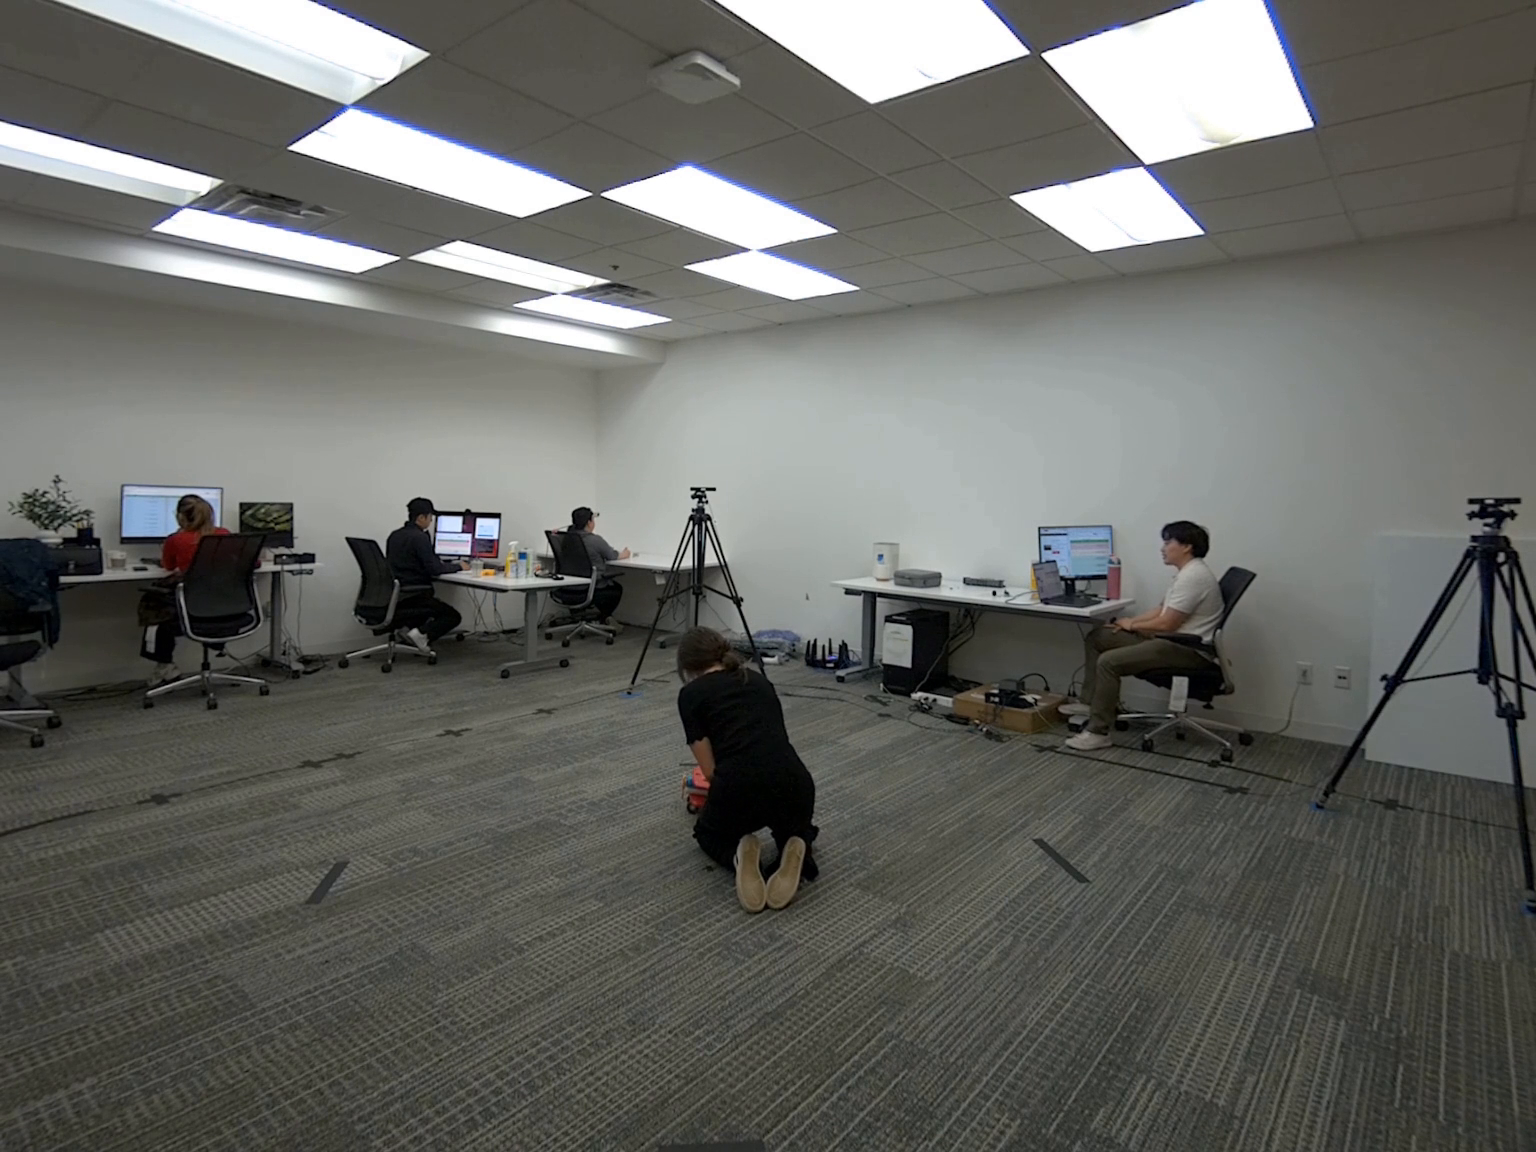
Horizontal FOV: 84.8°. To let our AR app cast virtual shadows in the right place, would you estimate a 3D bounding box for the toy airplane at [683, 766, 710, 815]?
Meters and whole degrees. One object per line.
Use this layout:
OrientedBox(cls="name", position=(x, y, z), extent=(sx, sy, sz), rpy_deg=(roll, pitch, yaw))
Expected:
OrientedBox(cls="toy airplane", position=(-0.260, 0.921, 3.693), extent=(0.253, 0.156, 0.258), rpy_deg=(-10, 6, -29))
